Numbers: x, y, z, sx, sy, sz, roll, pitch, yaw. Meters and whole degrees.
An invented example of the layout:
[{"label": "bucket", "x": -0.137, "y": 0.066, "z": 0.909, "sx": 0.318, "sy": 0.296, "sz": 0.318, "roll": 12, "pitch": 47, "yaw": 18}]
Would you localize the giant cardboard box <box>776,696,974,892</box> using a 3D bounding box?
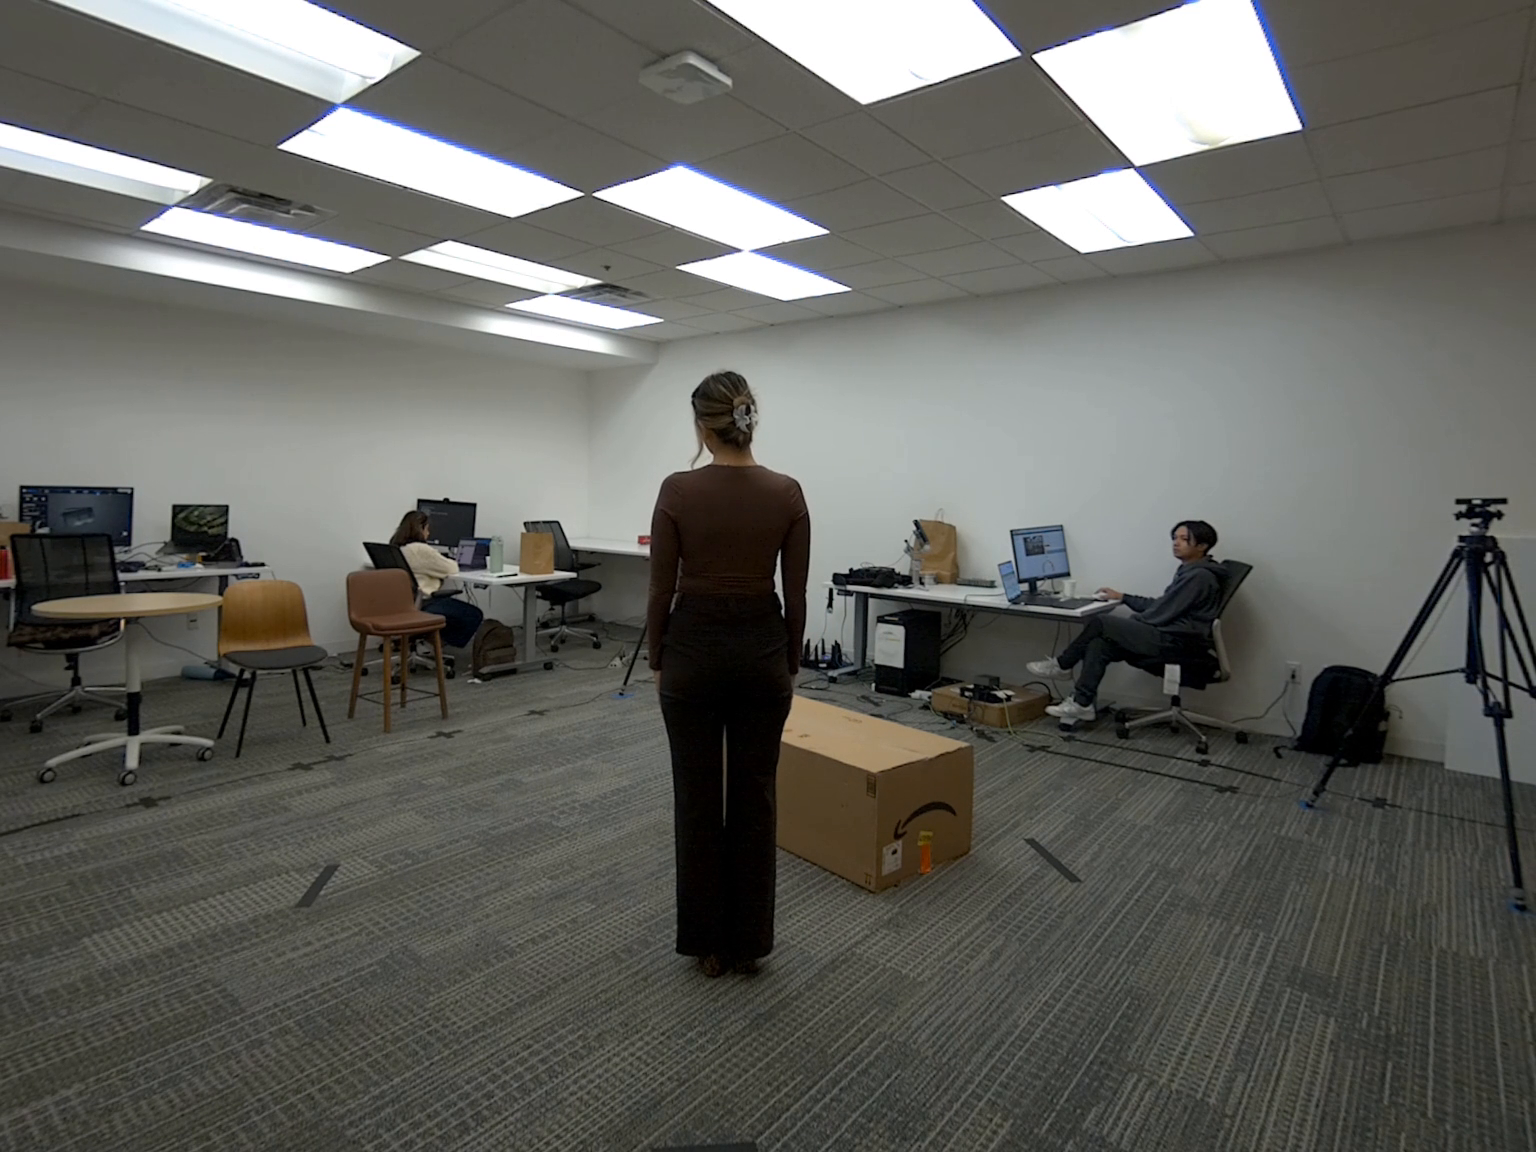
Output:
[{"label": "giant cardboard box", "x": 0.232, "y": 0.829, "z": 3.503, "sx": 0.566, "sy": 0.445, "sz": 1.063, "roll": -1, "pitch": 6, "yaw": -41}]
